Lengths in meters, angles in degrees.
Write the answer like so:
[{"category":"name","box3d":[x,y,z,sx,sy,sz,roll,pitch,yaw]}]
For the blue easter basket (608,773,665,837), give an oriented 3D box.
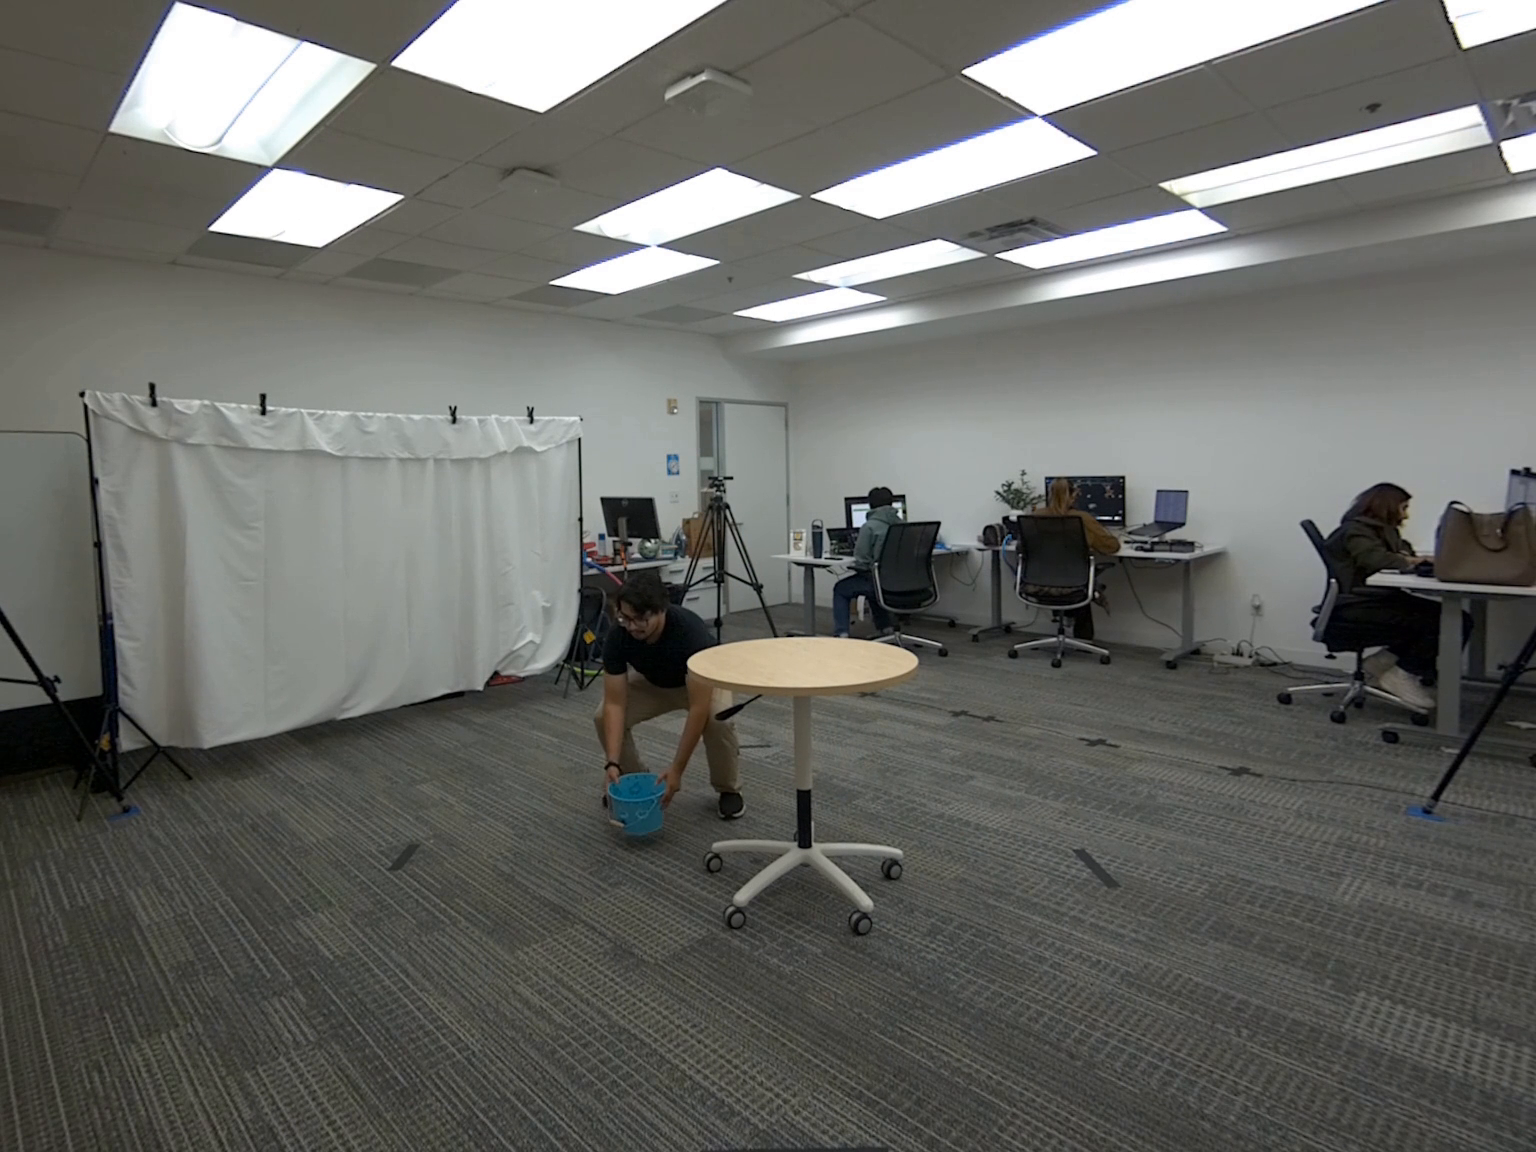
[{"category":"blue easter basket","box3d":[-0.512,0.884,3.292,0.243,0.154,0.246,-1,12,-1]}]
